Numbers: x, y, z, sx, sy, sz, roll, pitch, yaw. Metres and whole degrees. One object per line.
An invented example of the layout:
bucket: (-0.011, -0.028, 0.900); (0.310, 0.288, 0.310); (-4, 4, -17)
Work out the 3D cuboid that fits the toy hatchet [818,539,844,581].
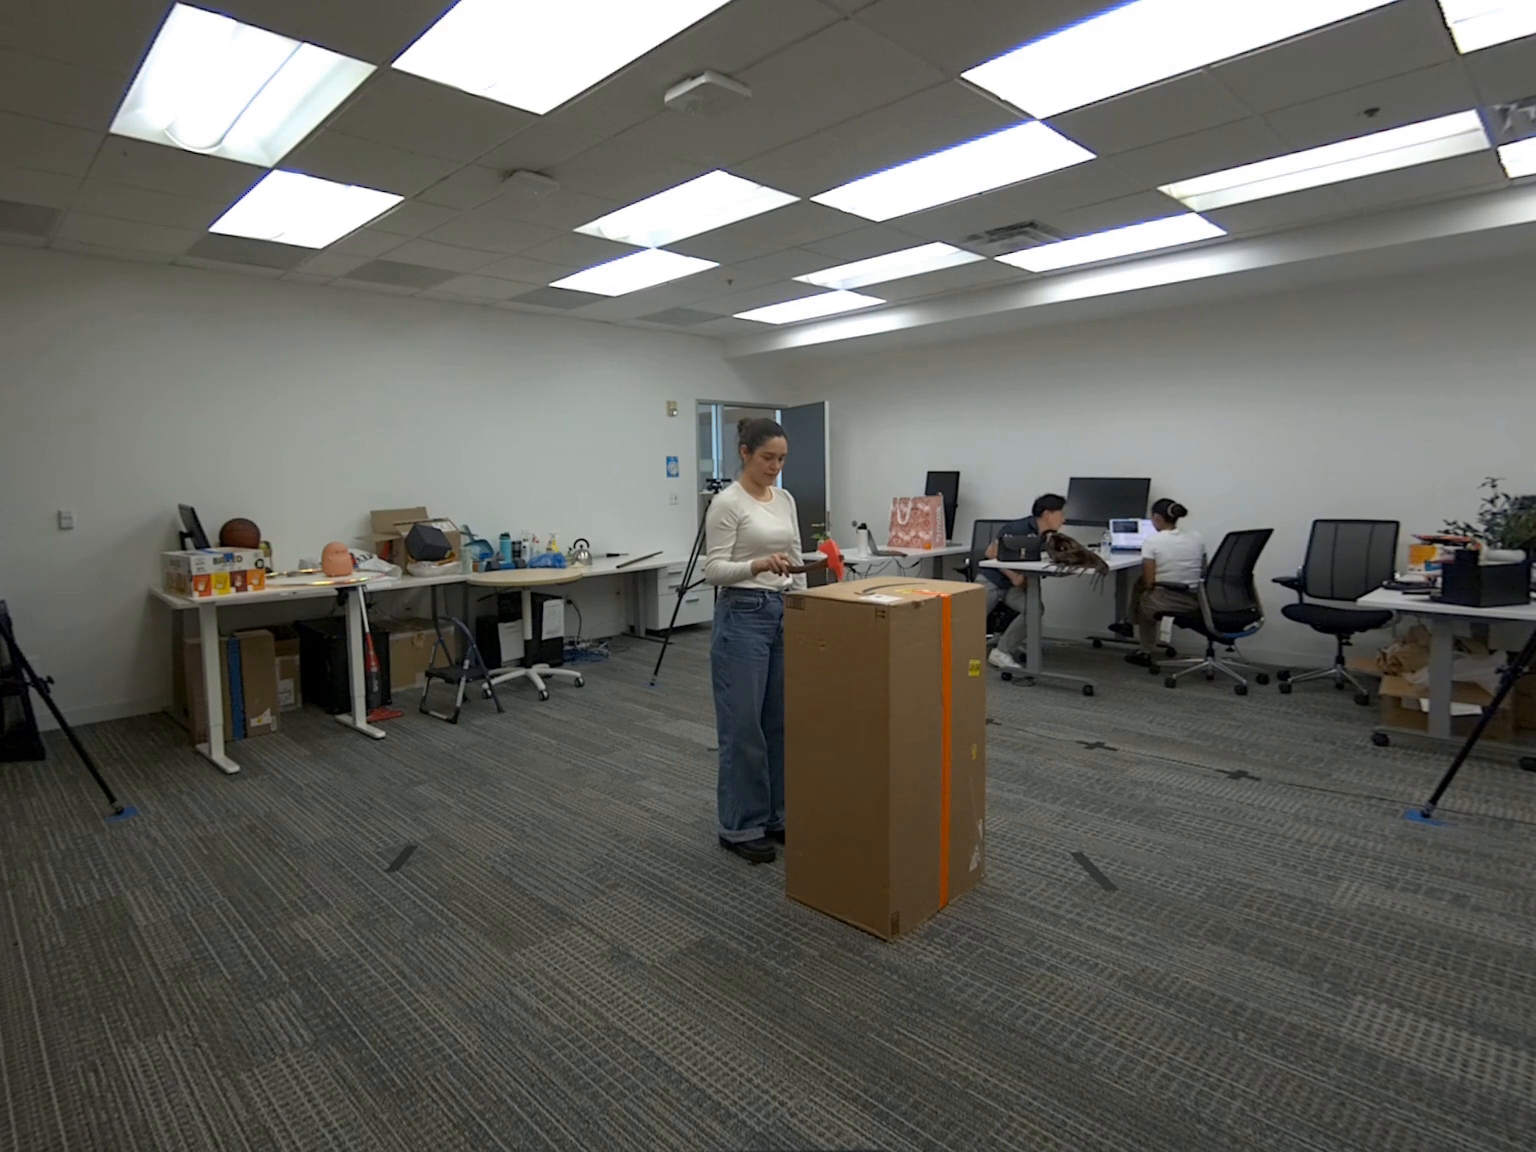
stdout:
toy hatchet: (0.144, -0.055, 2.822); (0.278, 0.130, 0.029); (4, 12, 42)
